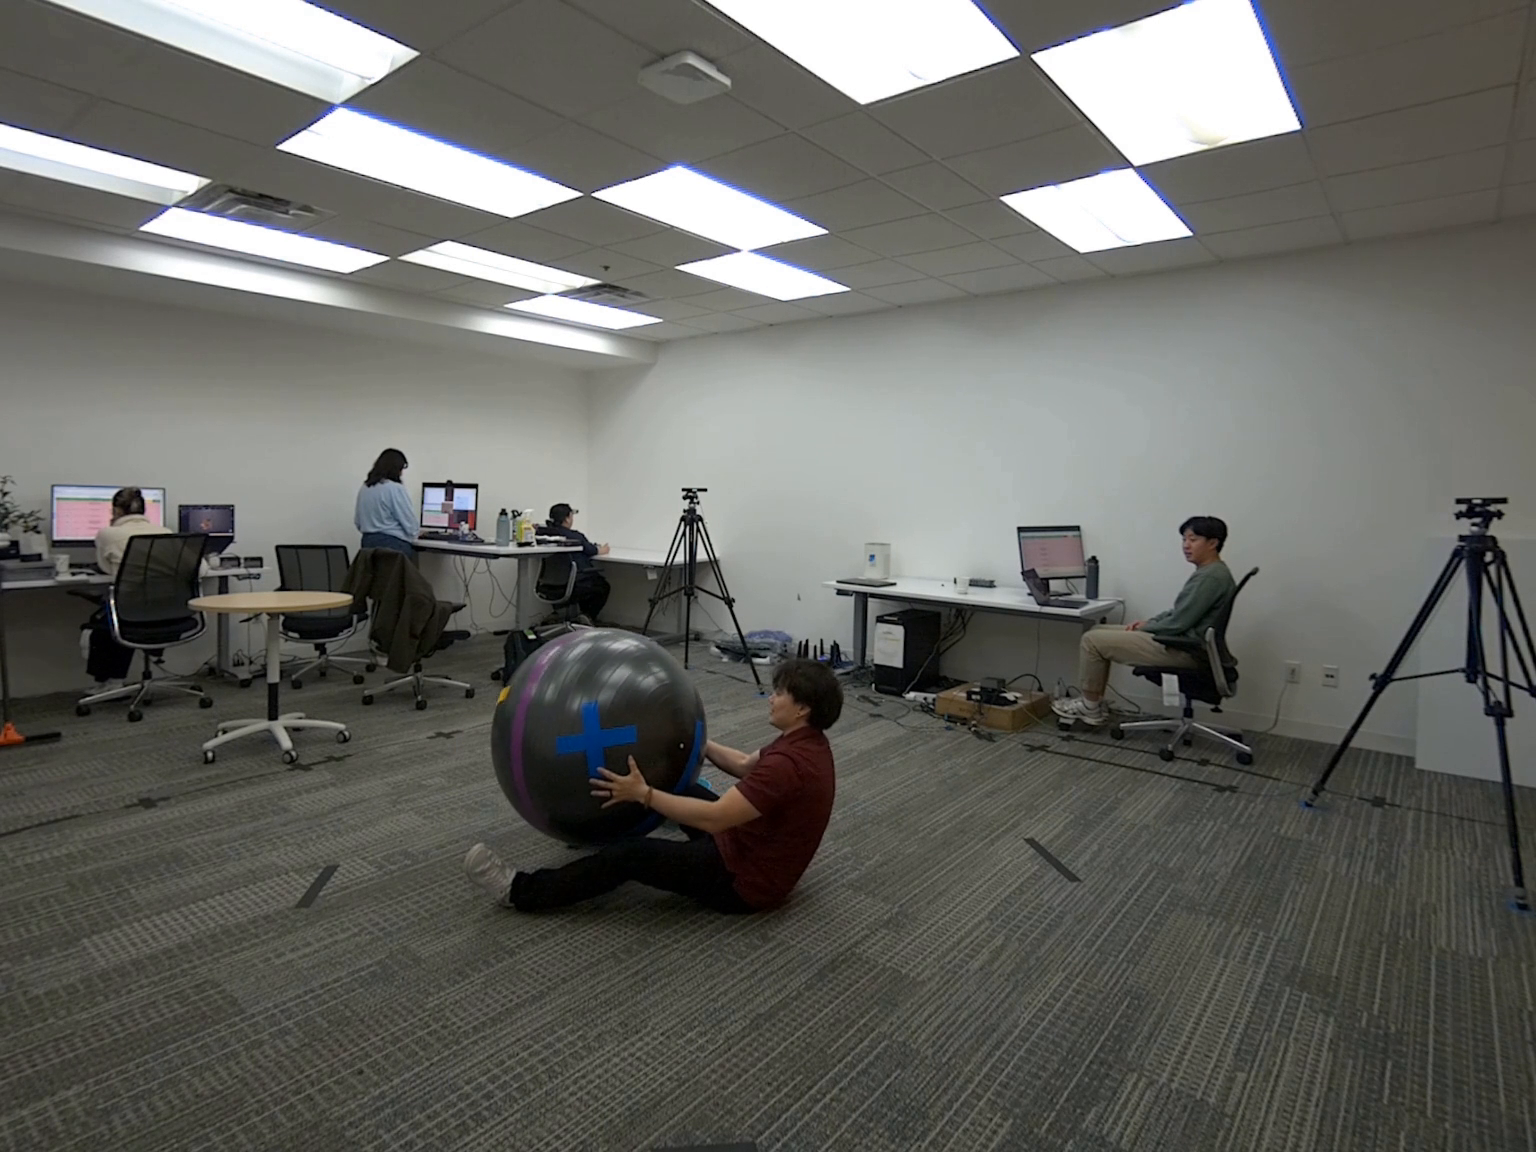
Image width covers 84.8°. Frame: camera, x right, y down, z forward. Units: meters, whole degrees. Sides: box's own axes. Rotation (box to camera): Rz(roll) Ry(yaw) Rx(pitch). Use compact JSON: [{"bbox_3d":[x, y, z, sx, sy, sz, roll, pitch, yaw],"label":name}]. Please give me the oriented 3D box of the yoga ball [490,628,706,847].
[{"bbox_3d":[-0.610,0.570,3.033,0.757,0.755,0.762,1,4,-2],"label":"yoga ball"}]
